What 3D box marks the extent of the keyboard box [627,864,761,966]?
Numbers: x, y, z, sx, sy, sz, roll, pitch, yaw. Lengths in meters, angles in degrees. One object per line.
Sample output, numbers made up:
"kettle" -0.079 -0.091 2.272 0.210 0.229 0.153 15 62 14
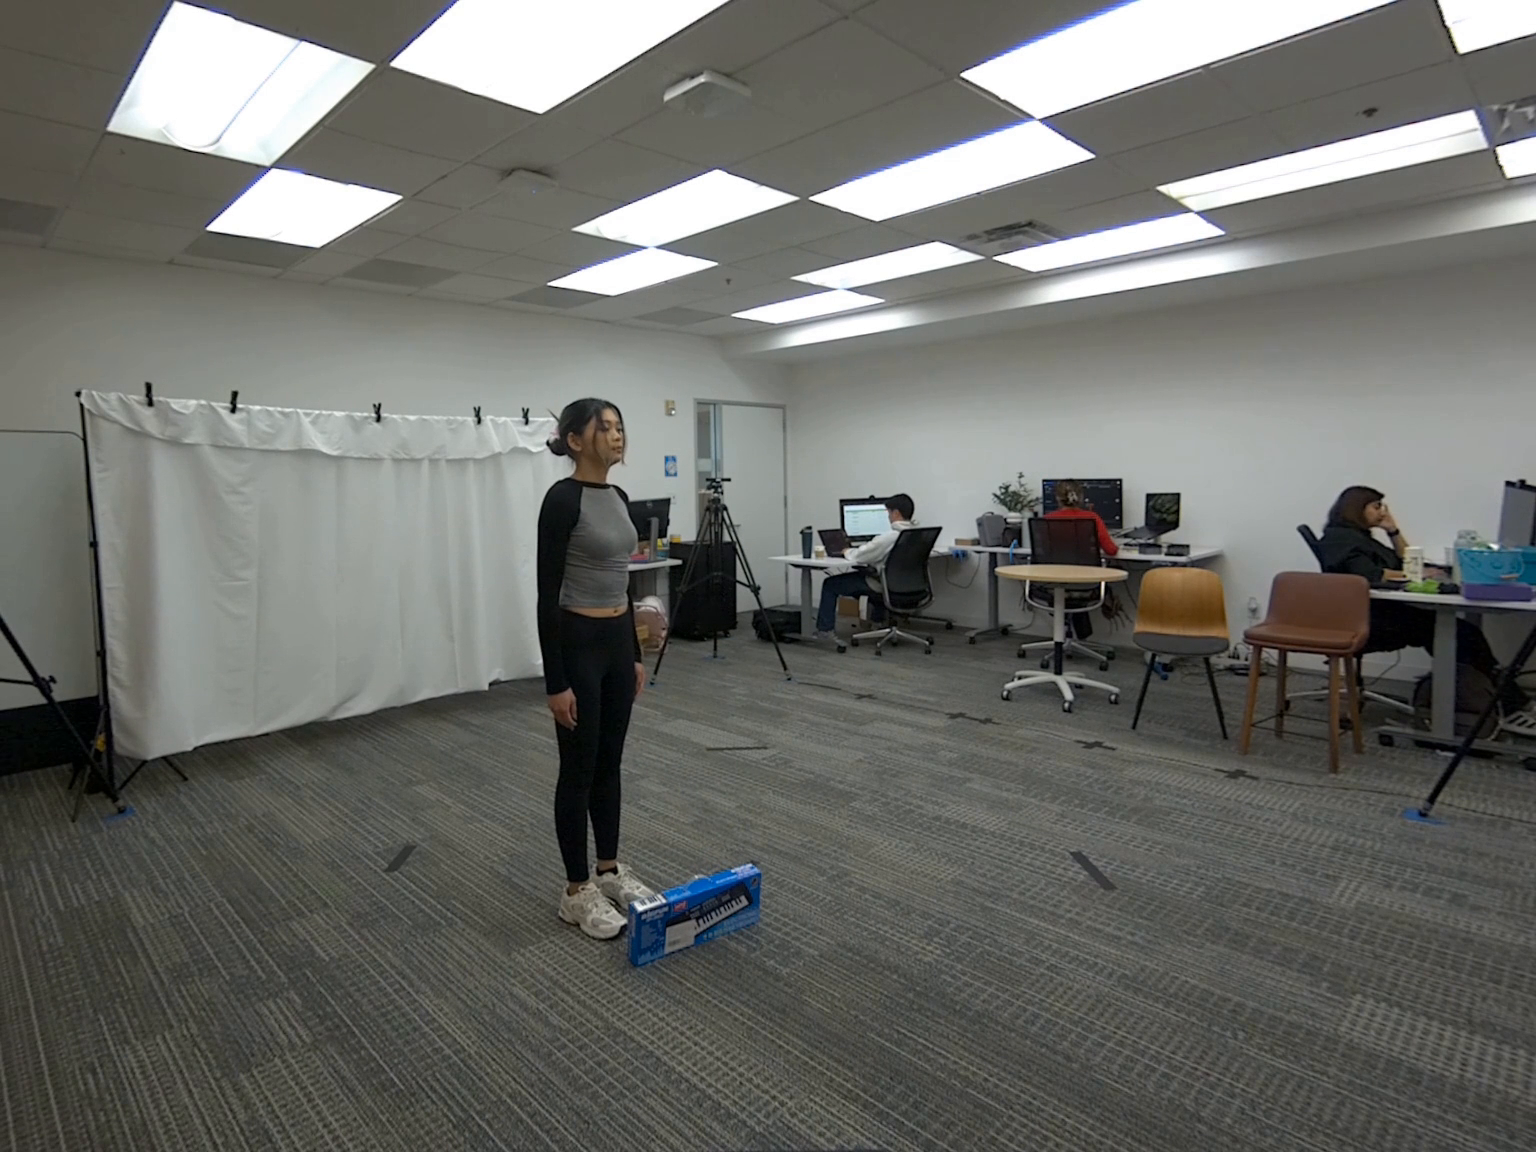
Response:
"keyboard box" -0.213 1.020 2.583 0.426 0.174 0.061 -6 12 -34
